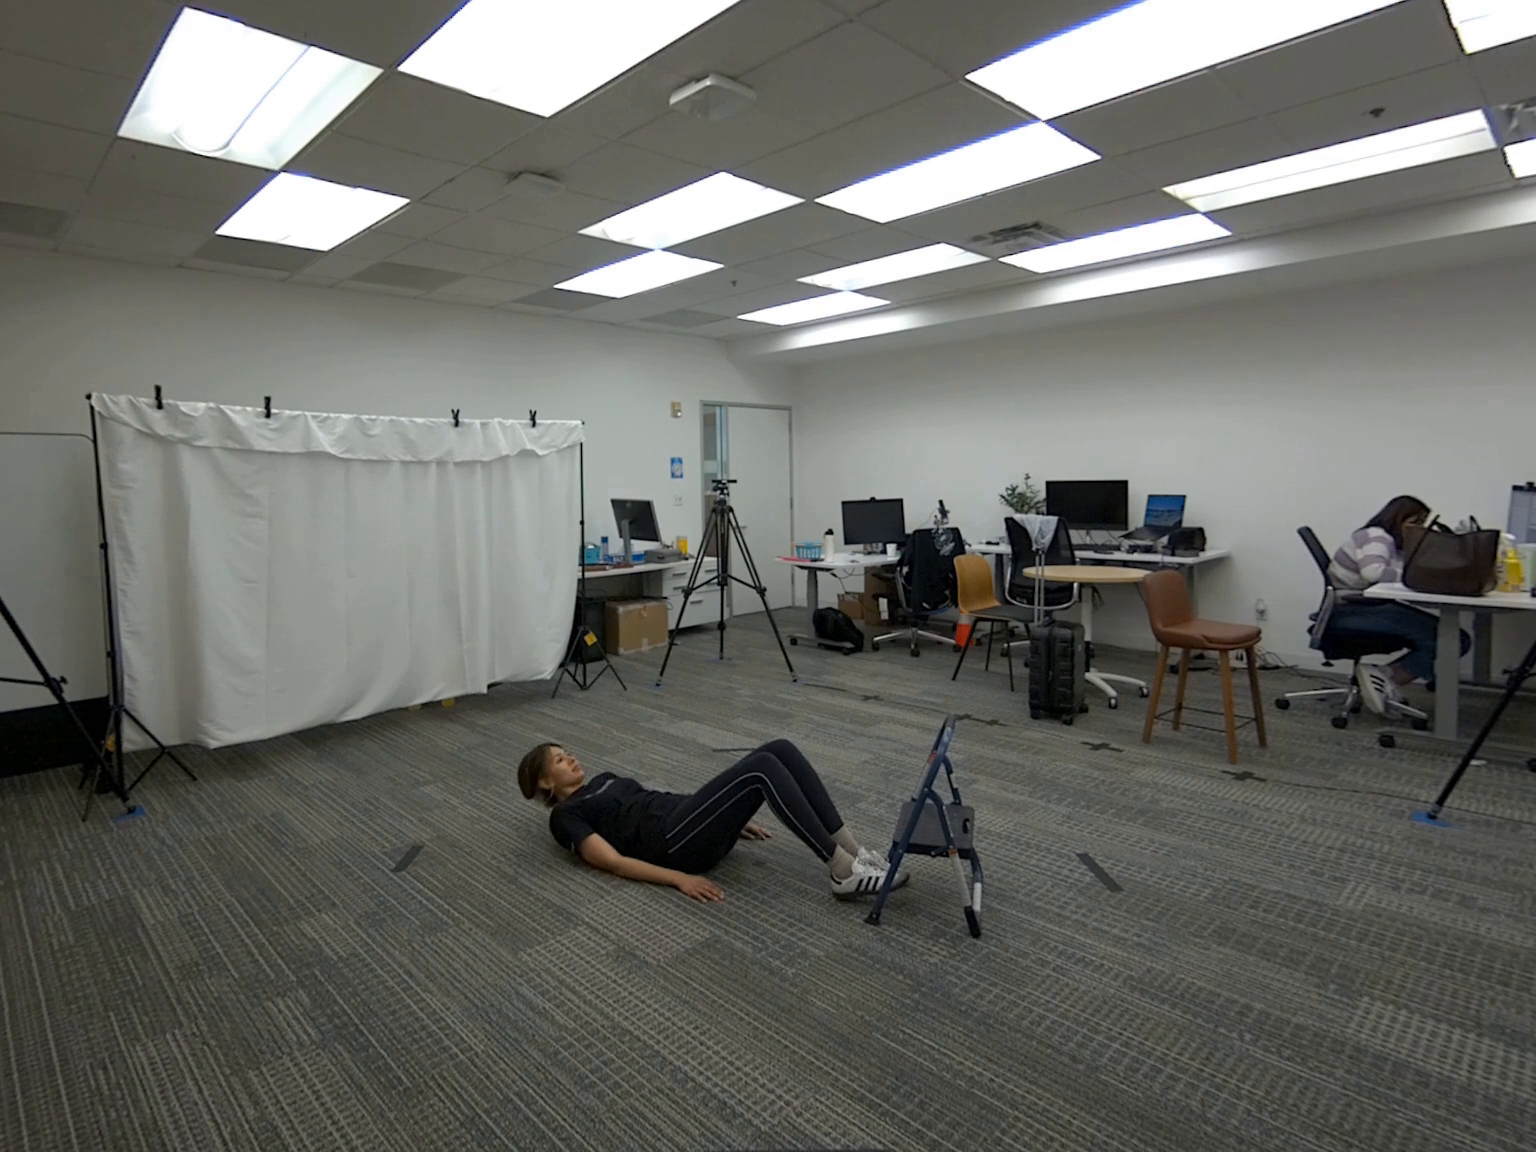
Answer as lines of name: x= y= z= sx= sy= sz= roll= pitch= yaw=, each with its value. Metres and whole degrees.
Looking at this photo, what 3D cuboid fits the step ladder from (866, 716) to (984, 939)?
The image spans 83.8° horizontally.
step ladder: x=0.525 y=0.768 z=2.801 sx=0.355 sy=0.604 sz=0.425 roll=0 pitch=4 yaw=16
